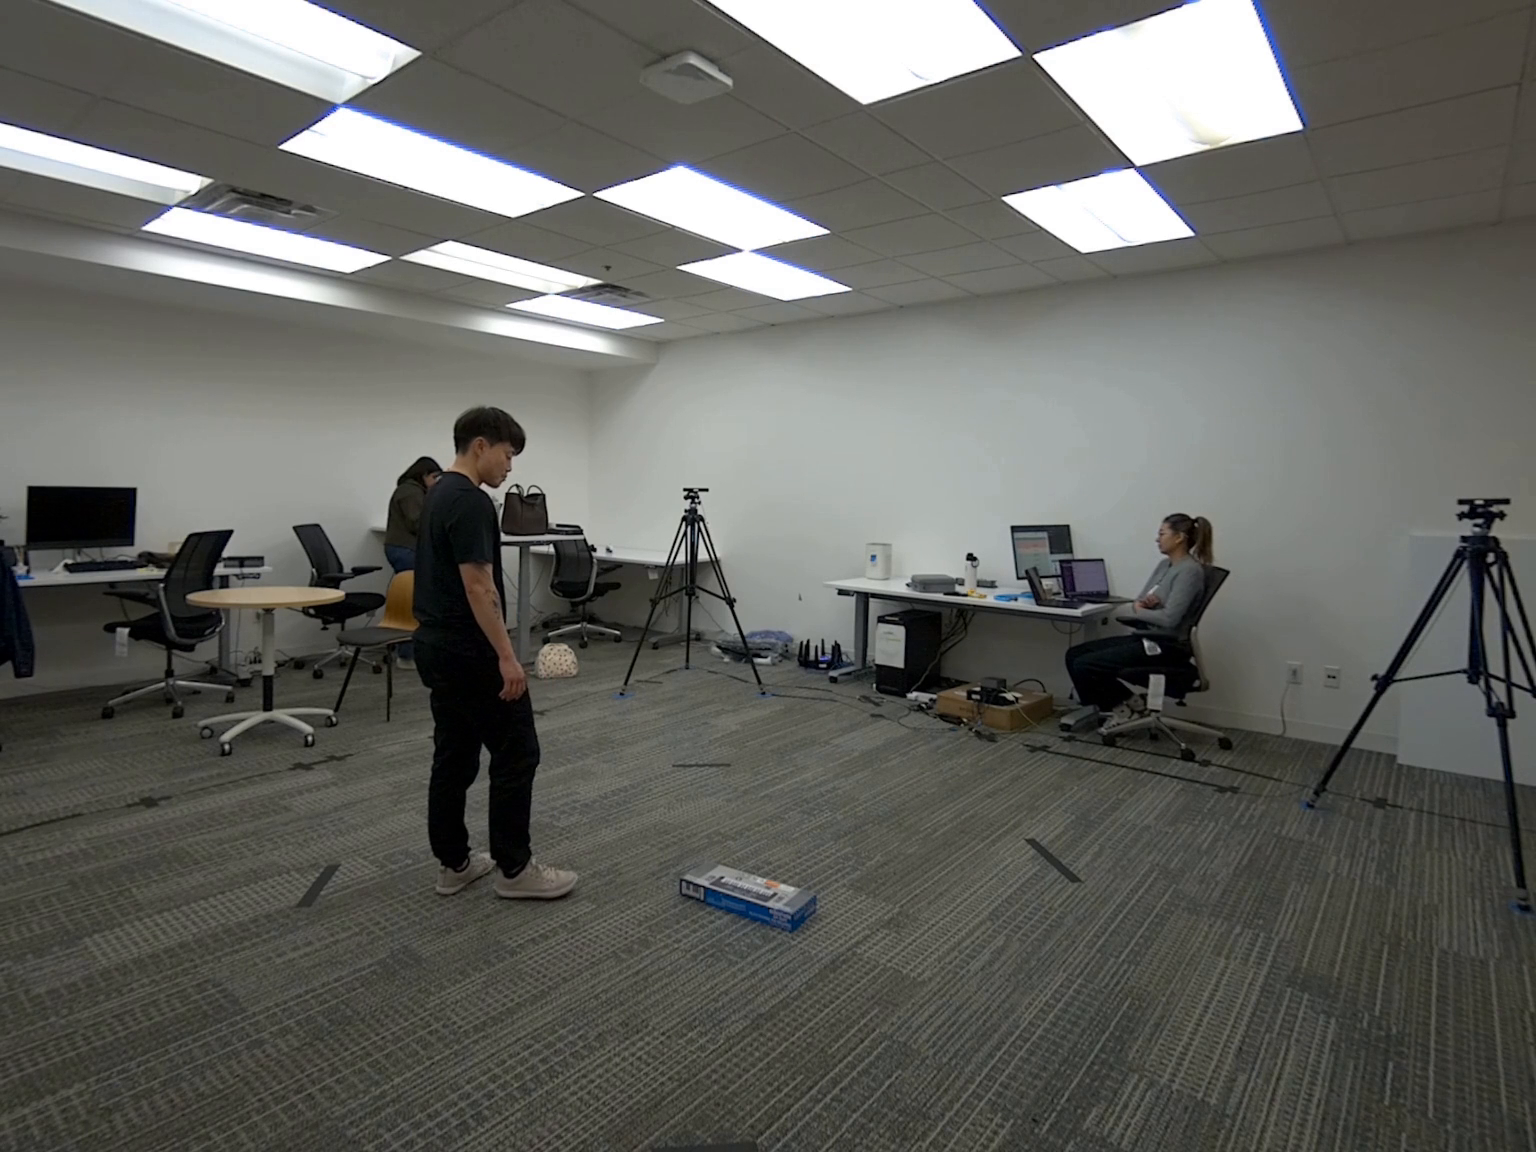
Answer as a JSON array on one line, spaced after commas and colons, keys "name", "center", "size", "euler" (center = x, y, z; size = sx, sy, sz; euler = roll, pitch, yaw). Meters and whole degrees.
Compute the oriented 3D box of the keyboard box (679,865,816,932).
[{"name": "keyboard box", "center": [-0.080, 1.066, 2.857], "size": [0.450, 0.059, 0.171], "euler": [5, 5, 31]}]
